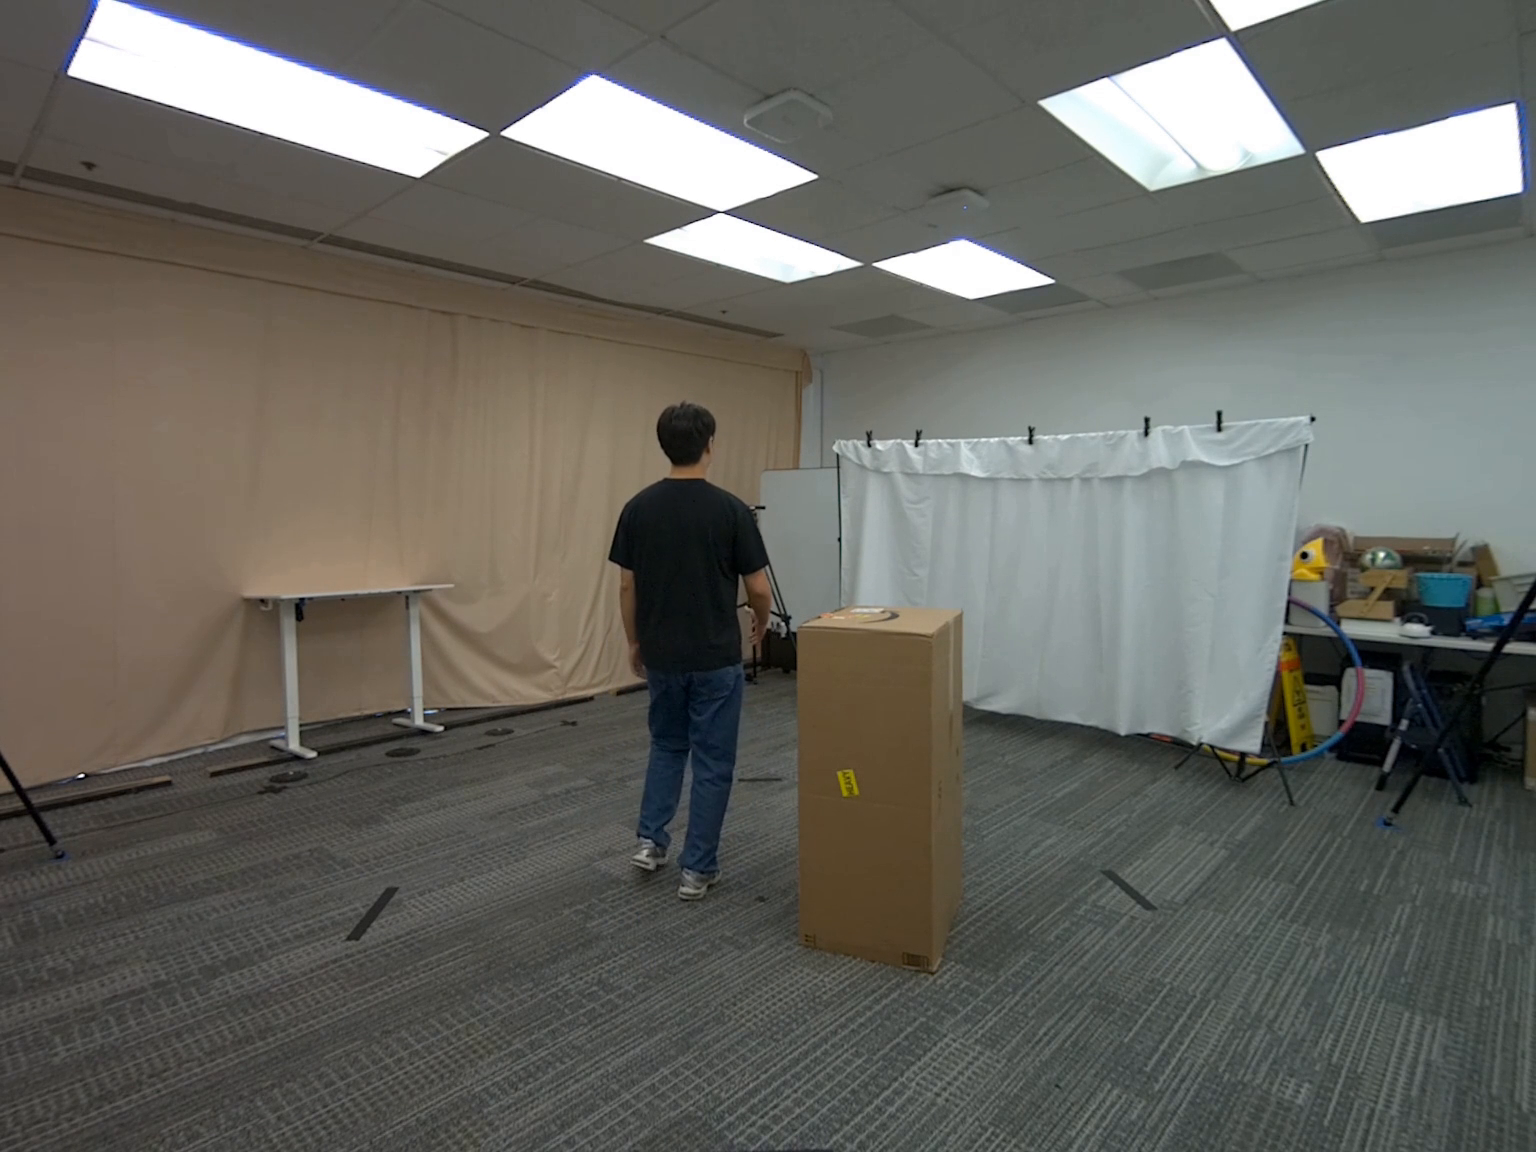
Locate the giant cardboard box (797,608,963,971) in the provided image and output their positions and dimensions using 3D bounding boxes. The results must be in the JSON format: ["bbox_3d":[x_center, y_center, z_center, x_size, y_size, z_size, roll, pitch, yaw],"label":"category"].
[{"bbox_3d":[0.396,0.643,2.813,0.458,1.025,0.570,0,3,25],"label":"giant cardboard box"}]
